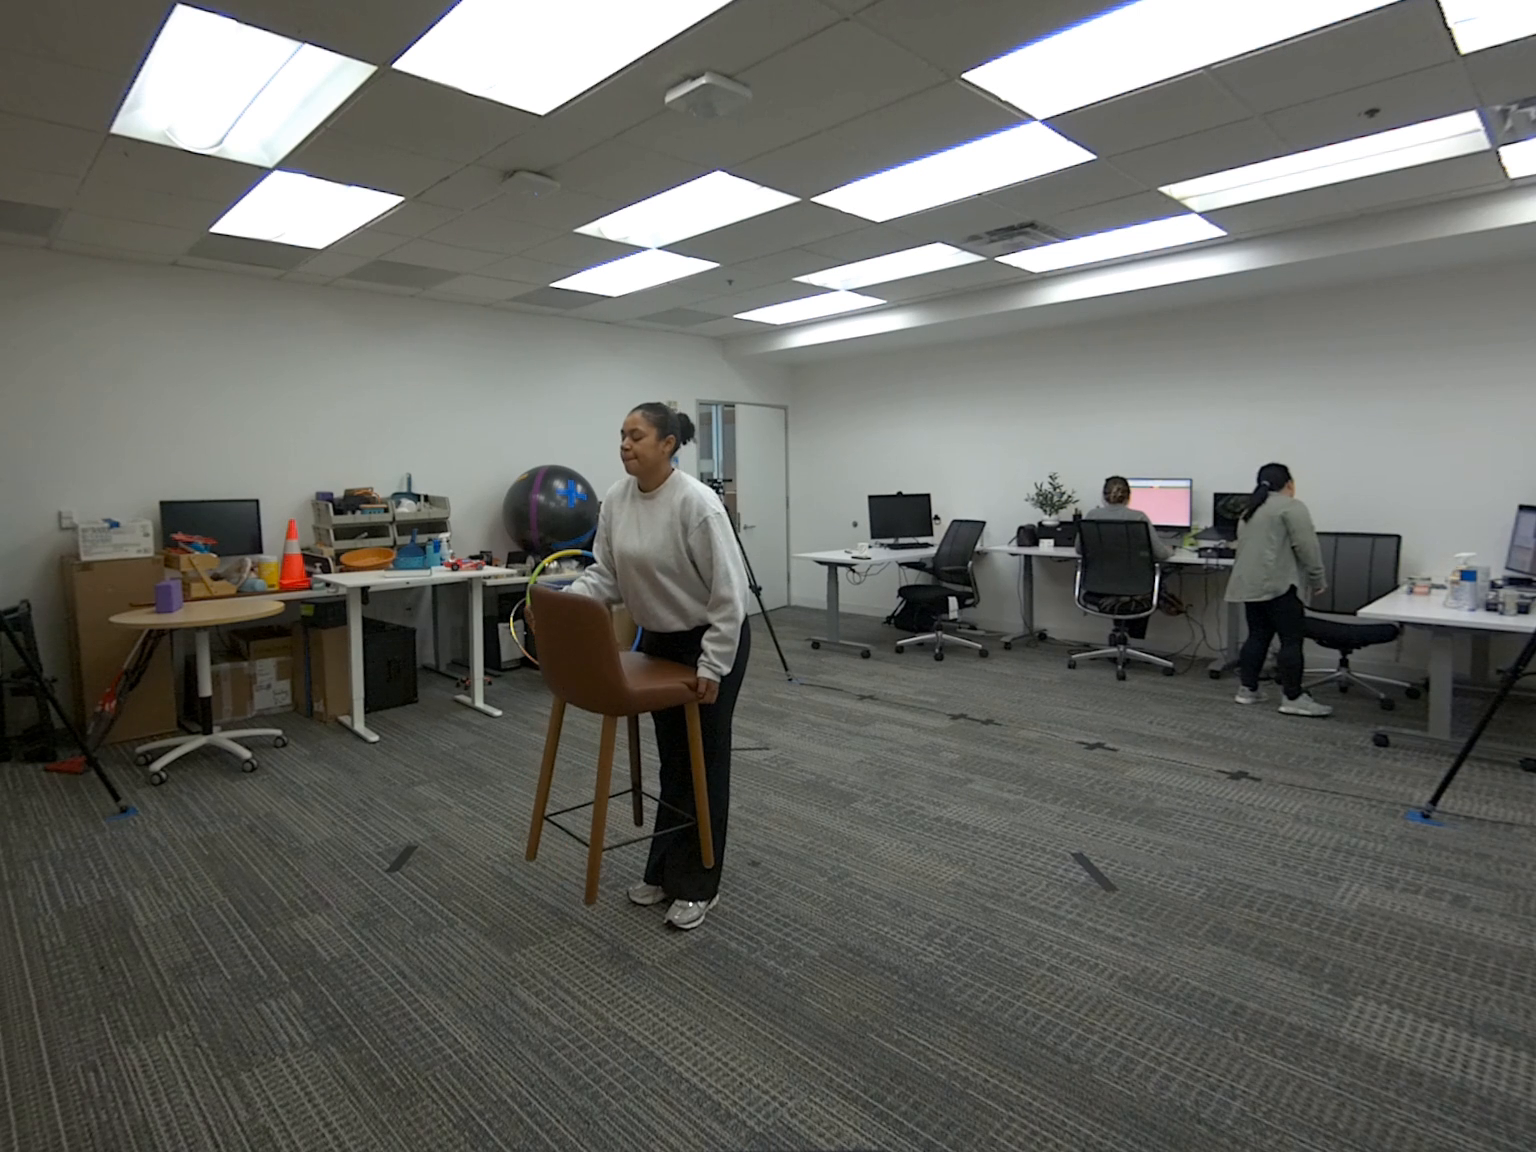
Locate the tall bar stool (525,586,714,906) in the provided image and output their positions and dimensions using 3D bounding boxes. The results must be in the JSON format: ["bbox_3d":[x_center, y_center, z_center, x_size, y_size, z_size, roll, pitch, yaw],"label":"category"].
[{"bbox_3d":[-0.462,0.470,2.628,0.455,0.885,0.471,-4,7,-41],"label":"tall bar stool"}]
